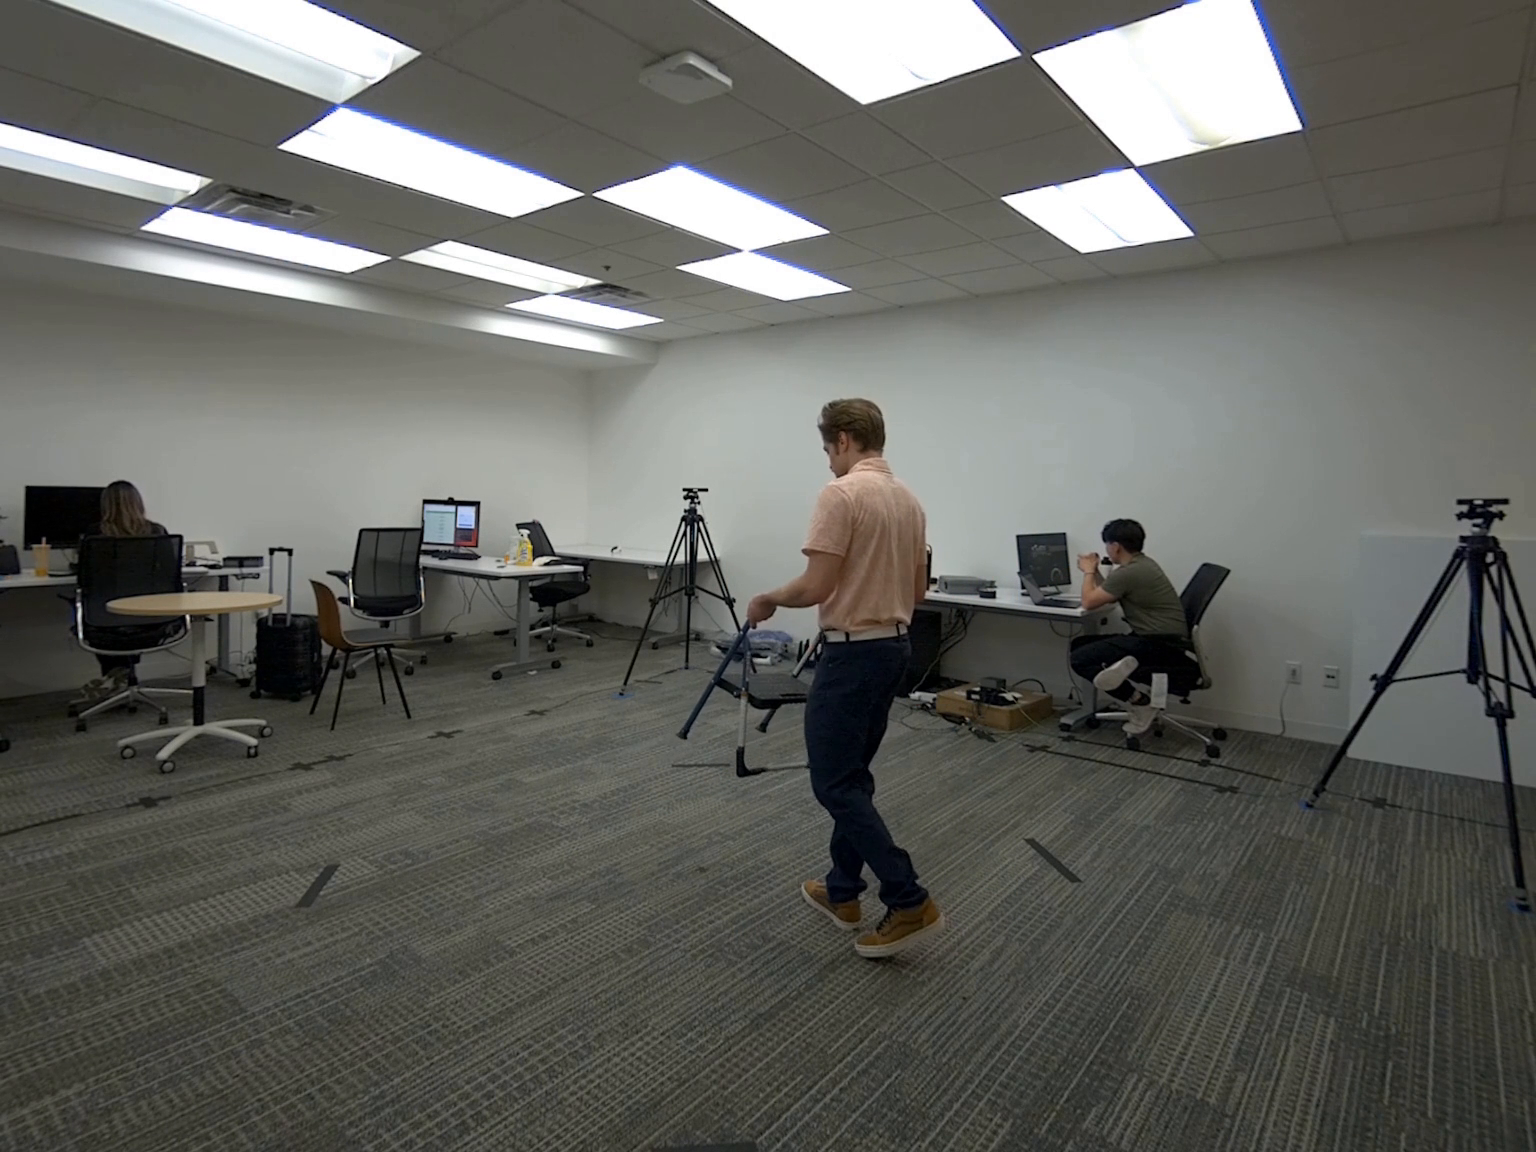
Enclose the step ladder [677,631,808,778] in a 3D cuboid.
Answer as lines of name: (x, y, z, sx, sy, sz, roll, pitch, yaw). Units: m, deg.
step ladder: (0.004, 0.329, 2.970, 0.416, 0.603, 0.363, 6, 10, -44)
